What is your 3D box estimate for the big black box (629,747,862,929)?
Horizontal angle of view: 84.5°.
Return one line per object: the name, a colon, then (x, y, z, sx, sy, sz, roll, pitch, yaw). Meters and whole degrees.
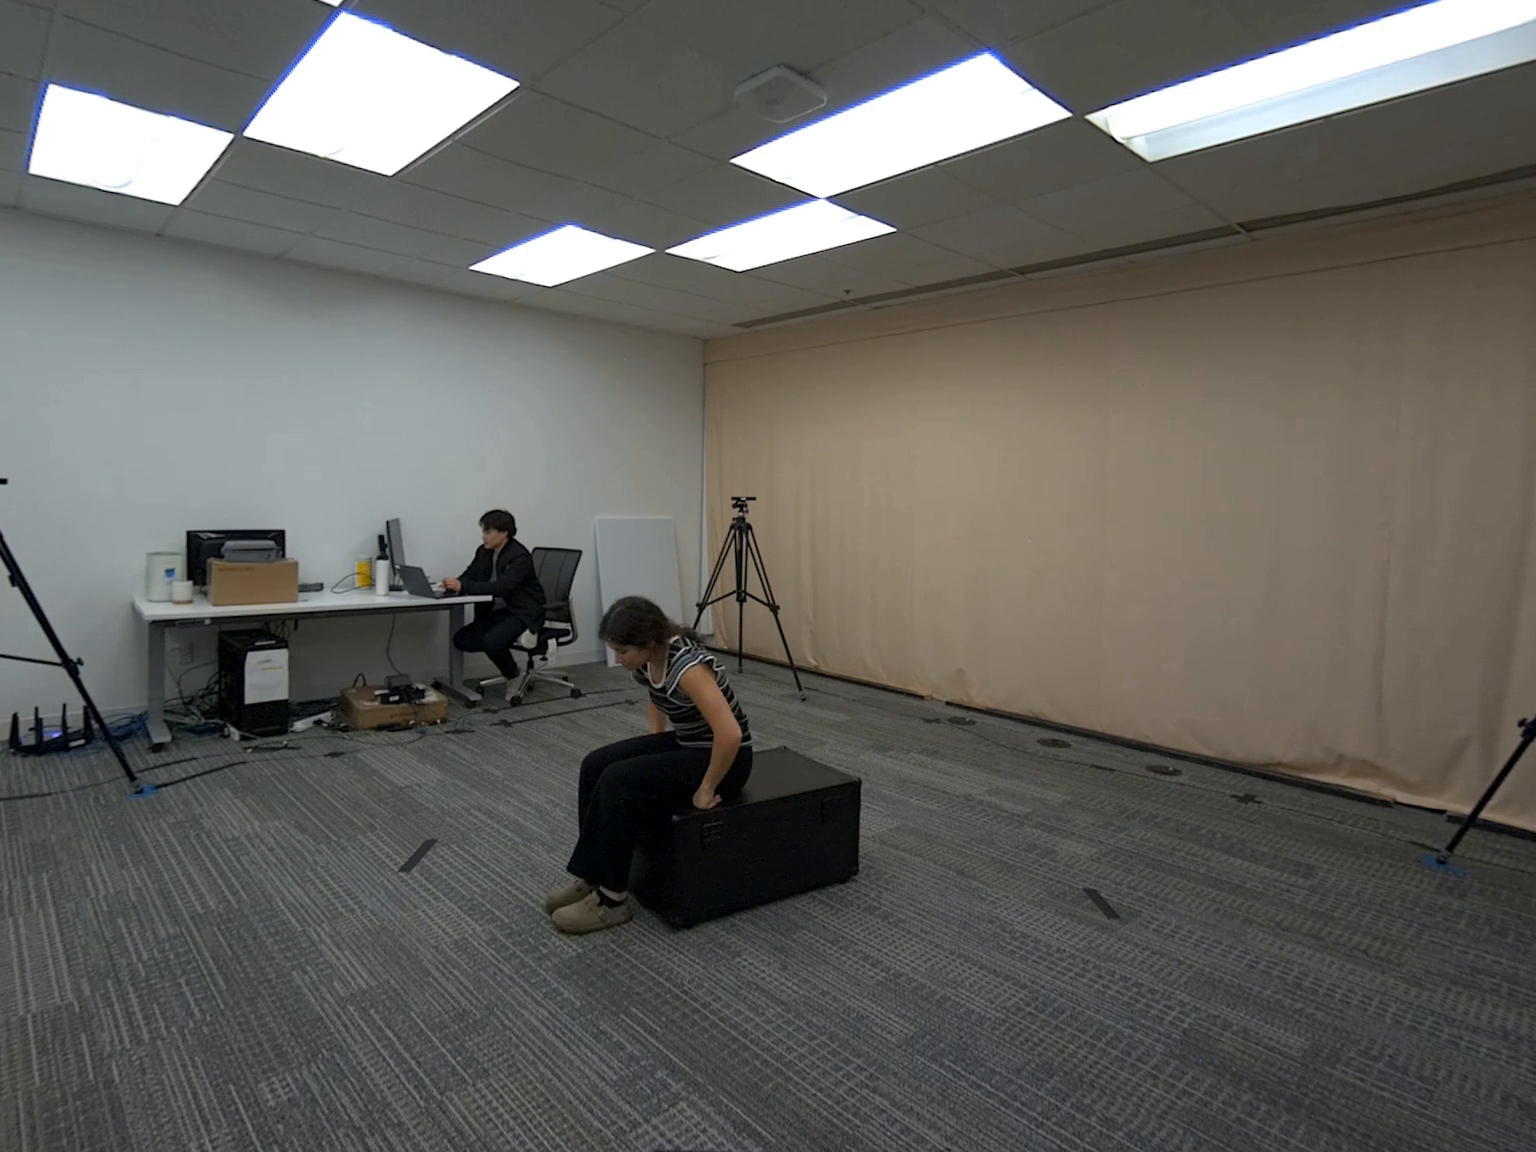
big black box: (-0.092, 0.922, 3.087, 0.843, 0.395, 0.534, -3, 6, -34)
